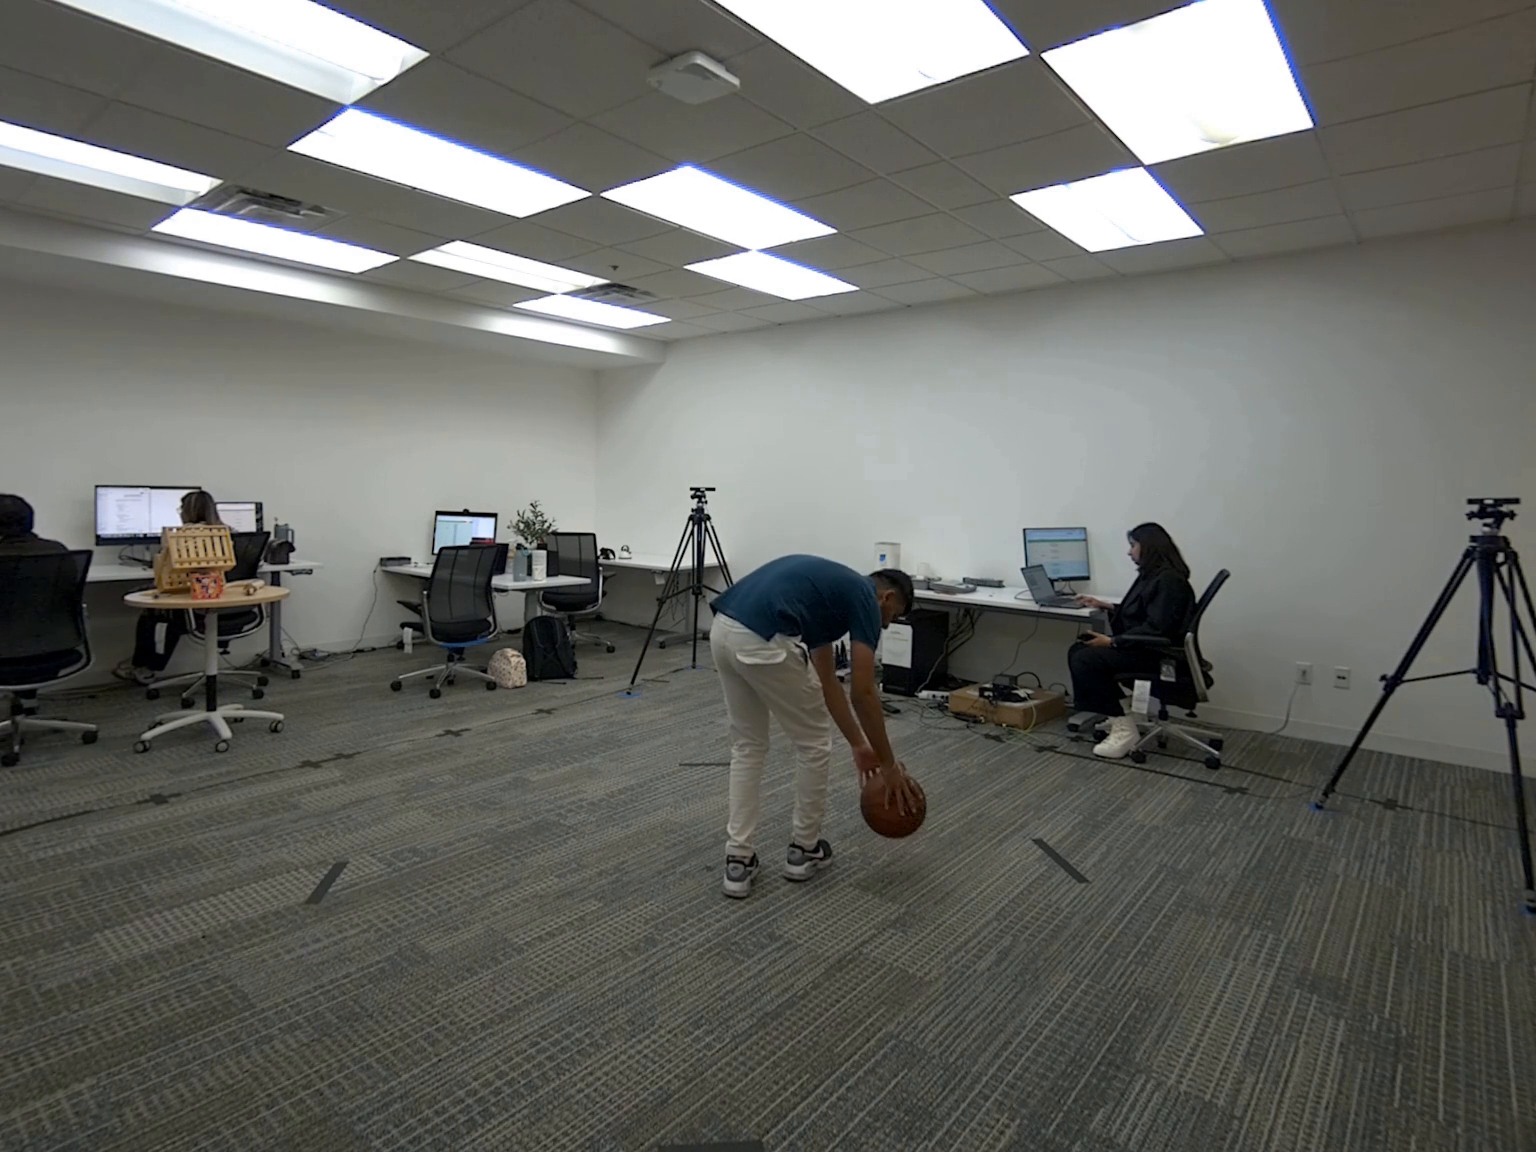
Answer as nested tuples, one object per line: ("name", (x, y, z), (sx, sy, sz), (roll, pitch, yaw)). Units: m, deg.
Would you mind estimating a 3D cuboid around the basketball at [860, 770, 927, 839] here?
("basketball", (0.442, 0.815, 3.095), (0.235, 0.235, 0.237), (1, 4, -2))
